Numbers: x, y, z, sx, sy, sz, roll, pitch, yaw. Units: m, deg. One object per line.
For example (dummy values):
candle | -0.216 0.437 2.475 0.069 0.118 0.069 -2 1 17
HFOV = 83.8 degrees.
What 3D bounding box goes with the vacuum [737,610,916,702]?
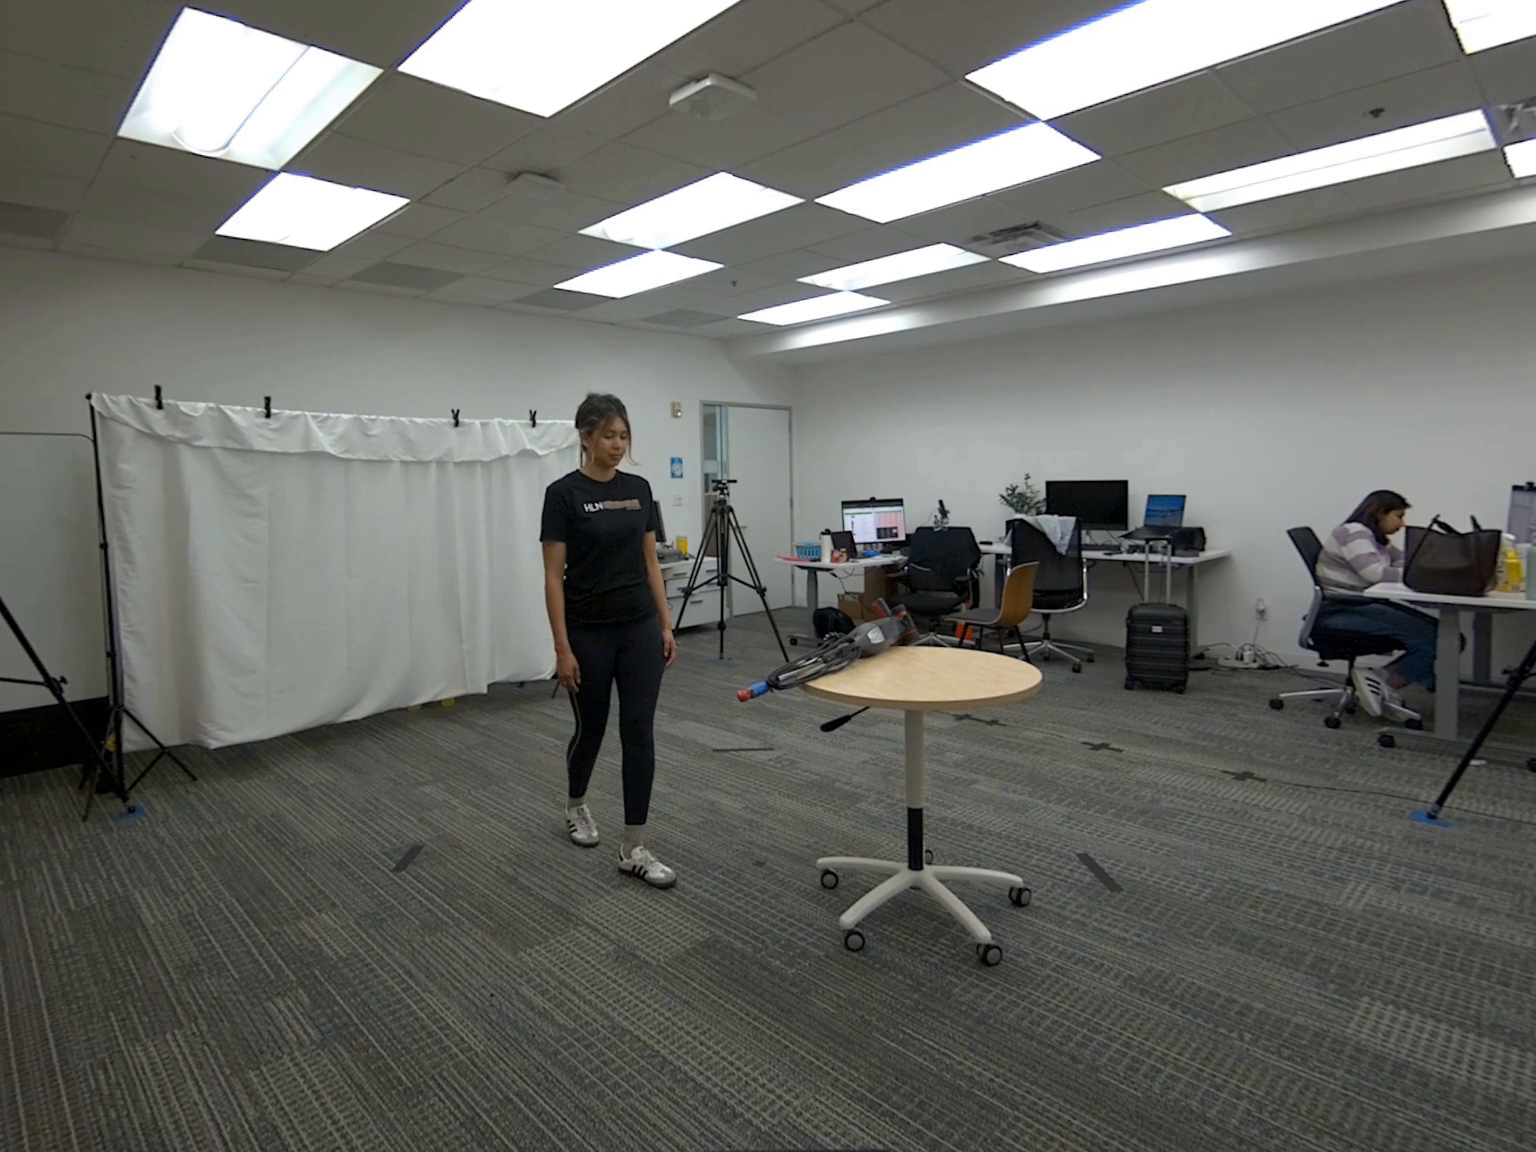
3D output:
vacuum | 0.209 0.267 2.779 0.145 0.257 1.026 -37 -13 32
